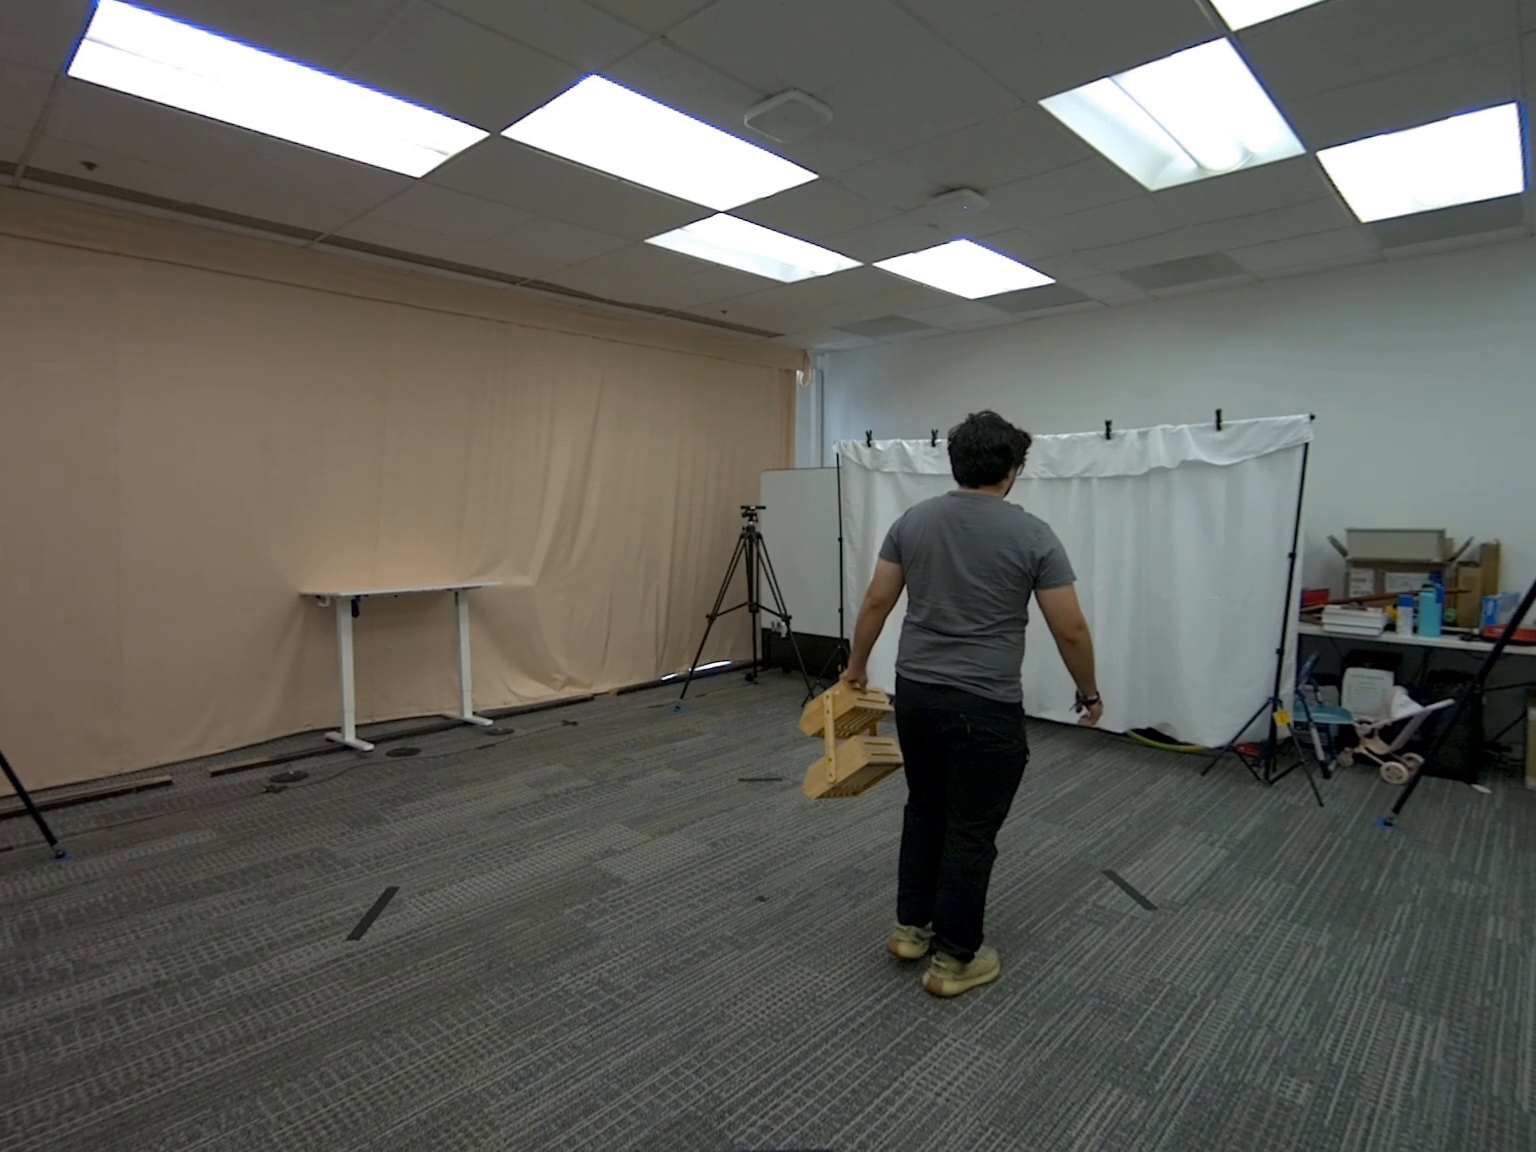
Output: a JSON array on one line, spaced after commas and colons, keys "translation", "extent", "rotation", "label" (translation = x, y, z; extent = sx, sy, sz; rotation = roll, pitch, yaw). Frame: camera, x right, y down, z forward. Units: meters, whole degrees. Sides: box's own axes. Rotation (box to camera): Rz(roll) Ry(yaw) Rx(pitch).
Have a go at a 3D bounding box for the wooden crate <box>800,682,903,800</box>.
[{"translation": [0.259, 0.542, 2.765], "extent": [0.304, 0.280, 0.313], "rotation": [-39, -30, 21], "label": "wooden crate"}]
